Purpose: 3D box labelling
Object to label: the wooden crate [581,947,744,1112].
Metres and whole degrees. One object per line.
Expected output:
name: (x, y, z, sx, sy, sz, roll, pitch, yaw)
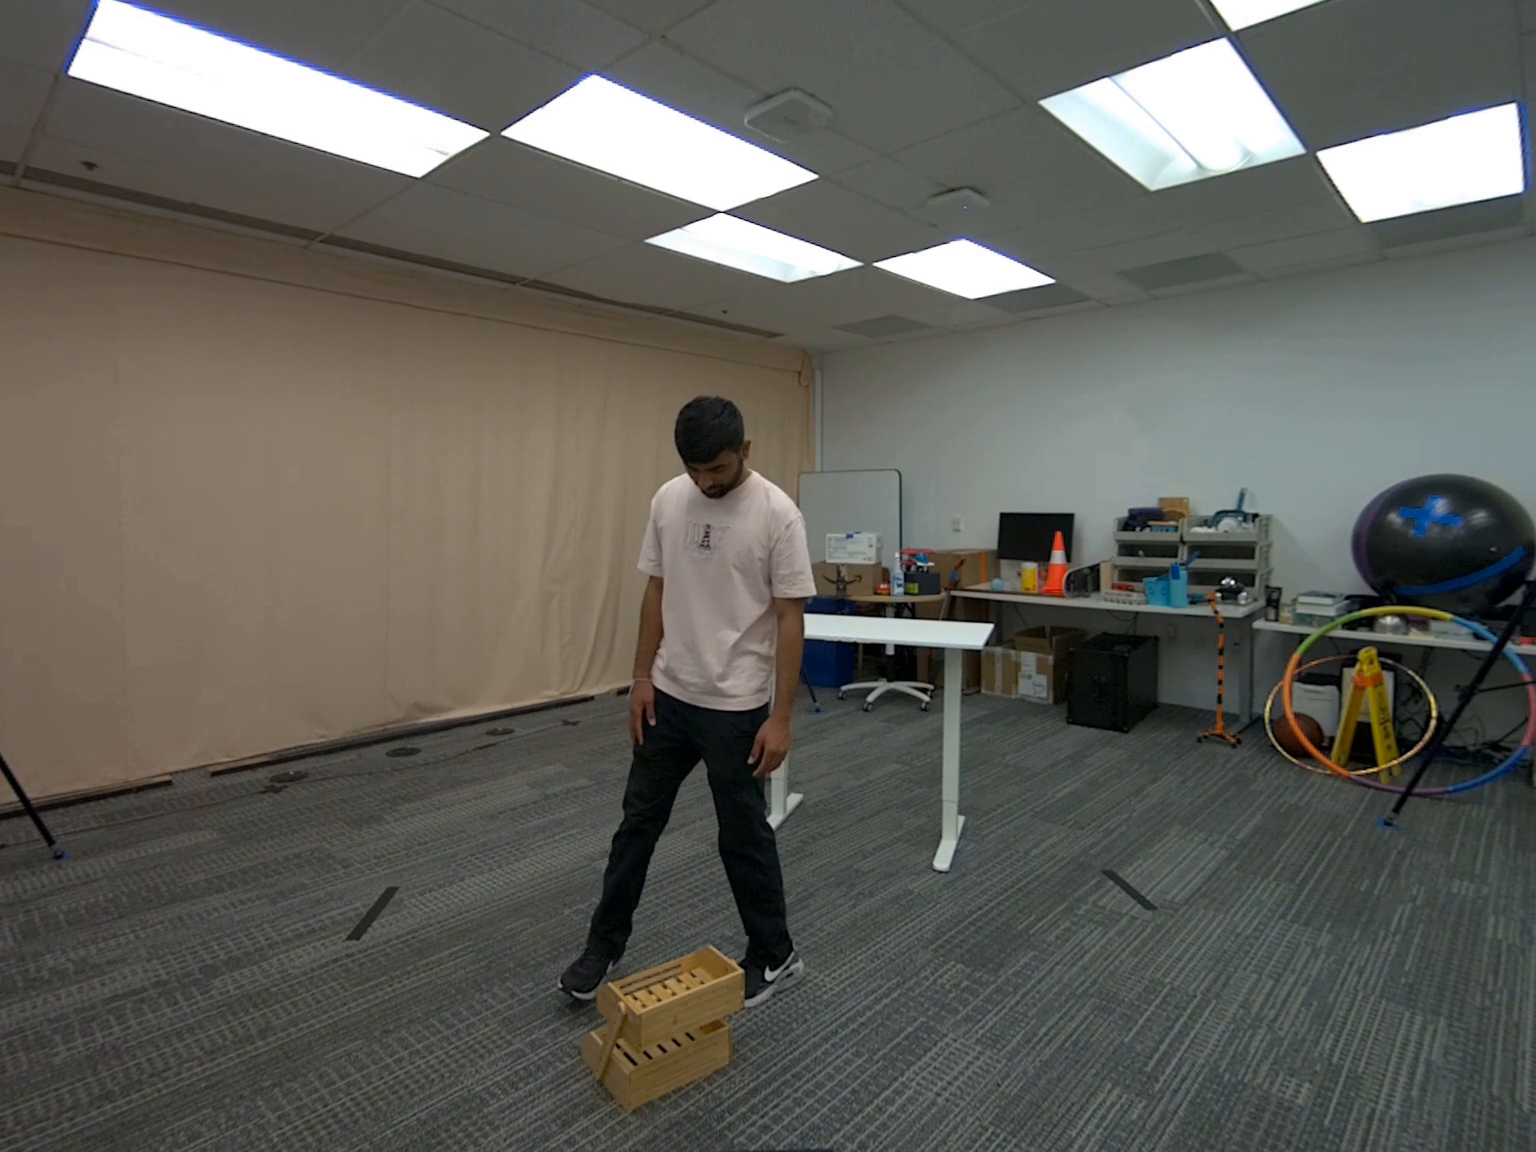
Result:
wooden crate: (-0.266, 1.087, 2.085, 0.315, 0.273, 0.312, -3, 5, -37)
